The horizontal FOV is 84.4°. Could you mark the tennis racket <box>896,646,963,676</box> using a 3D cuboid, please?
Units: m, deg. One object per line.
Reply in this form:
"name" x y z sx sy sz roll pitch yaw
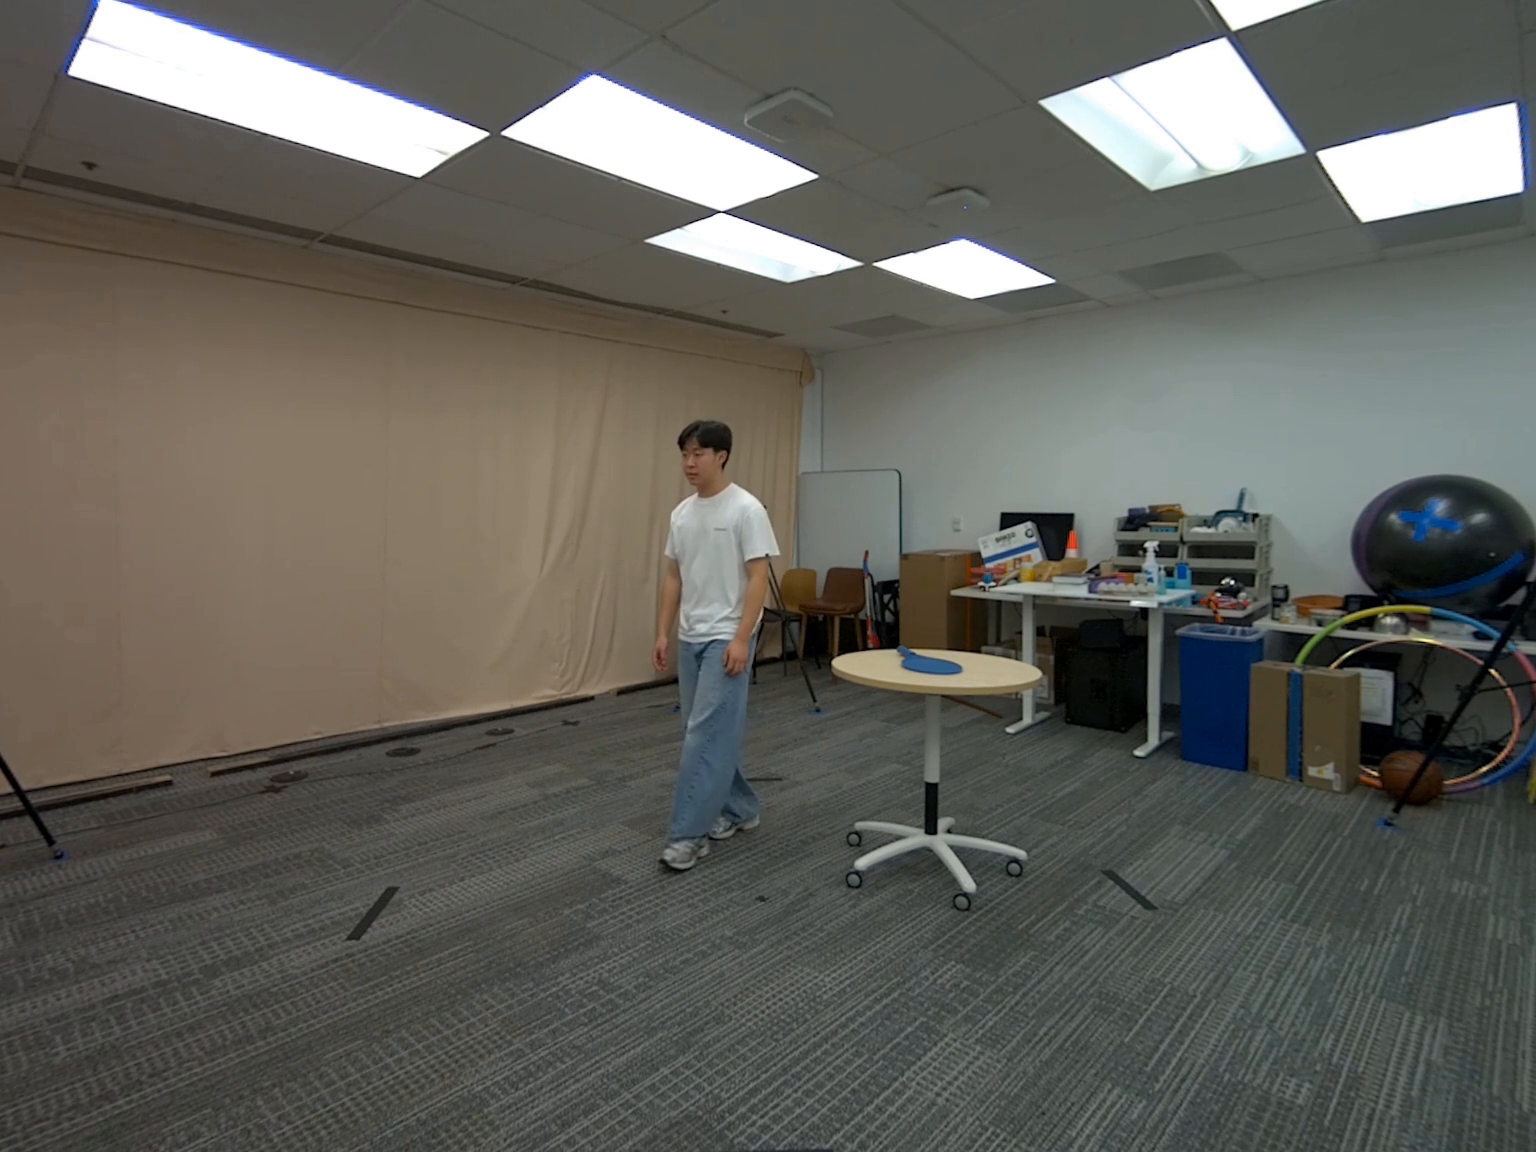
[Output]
"tennis racket" 0.595 0.329 3.236 0.211 0.031 0.440 -1 6 -14
